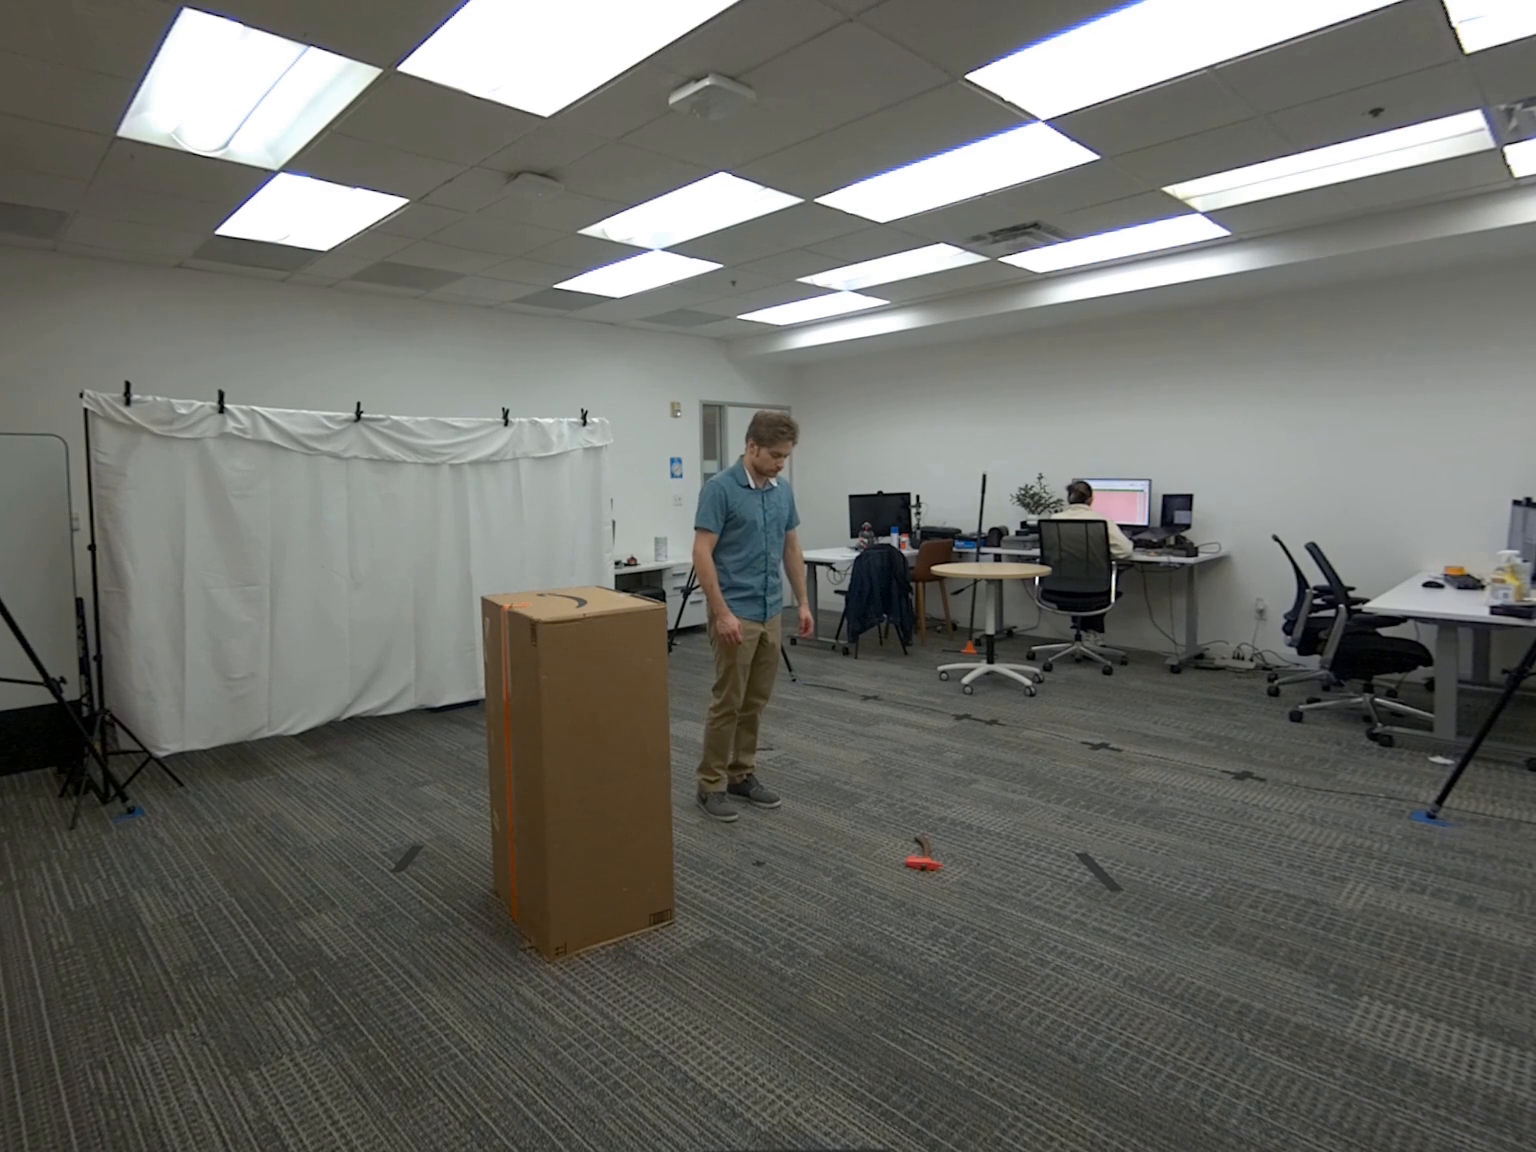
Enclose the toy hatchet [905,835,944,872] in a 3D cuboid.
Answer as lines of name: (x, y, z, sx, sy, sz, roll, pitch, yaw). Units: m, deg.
toy hatchet: (0.555, 1.021, 3.155, 0.131, 0.029, 0.272, -6, 5, -4)
